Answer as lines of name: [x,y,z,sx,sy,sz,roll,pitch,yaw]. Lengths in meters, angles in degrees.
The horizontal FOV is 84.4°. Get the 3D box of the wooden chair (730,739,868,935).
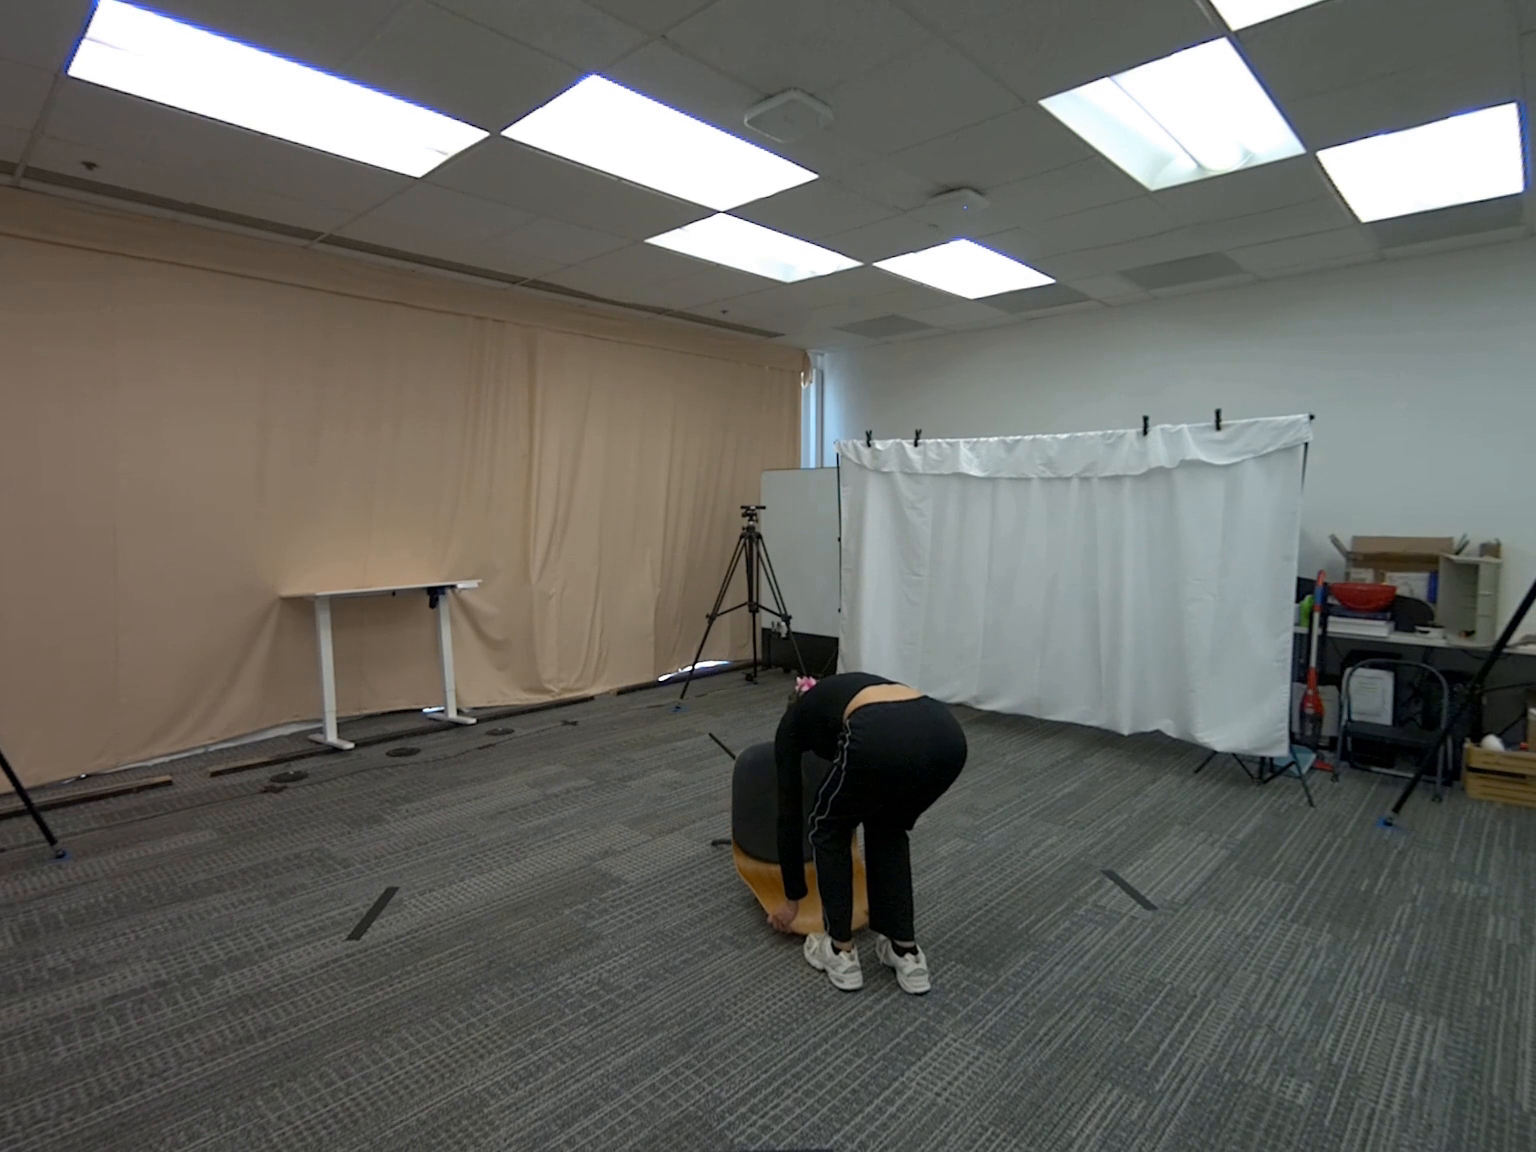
wooden chair: [0.090,0.859,3.100,0.471,0.522,0.891,-1,4,-14]
